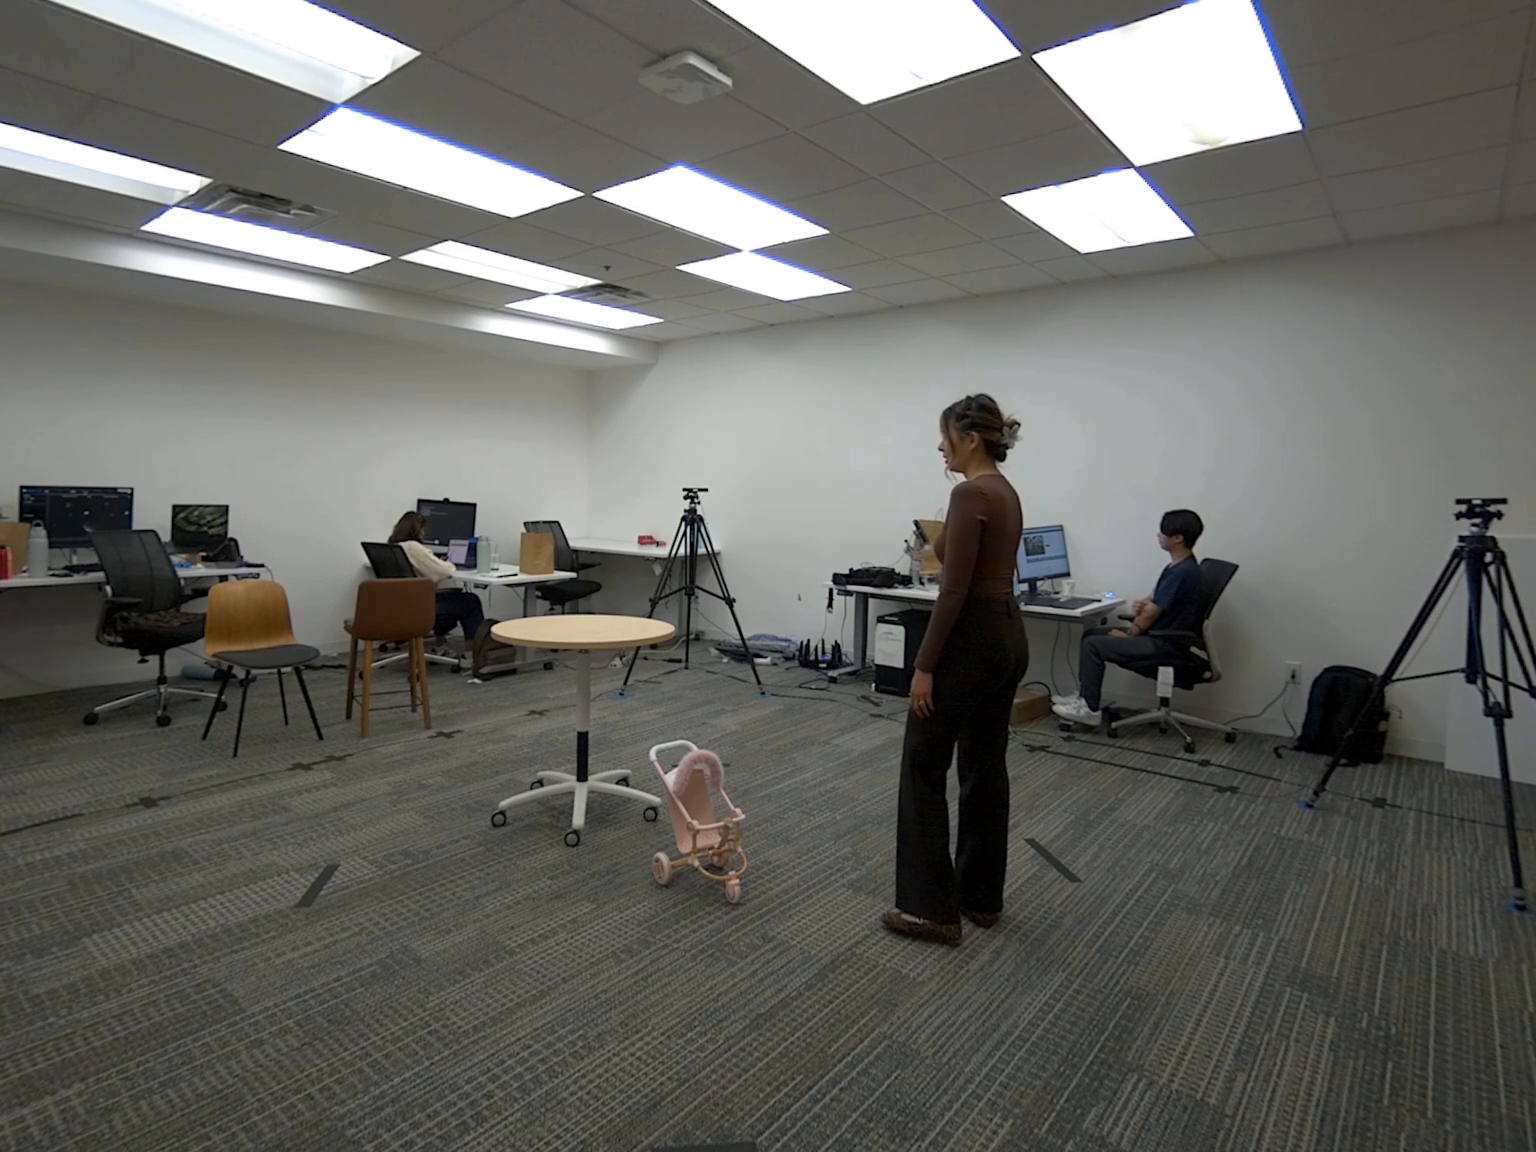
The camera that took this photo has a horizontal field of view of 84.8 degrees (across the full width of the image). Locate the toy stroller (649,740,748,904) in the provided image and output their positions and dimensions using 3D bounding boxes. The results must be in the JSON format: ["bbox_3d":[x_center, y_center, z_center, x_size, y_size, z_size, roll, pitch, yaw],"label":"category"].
[{"bbox_3d":[-0.243,0.852,2.997,0.273,0.541,0.348,-1,-11,-35],"label":"toy stroller"}]
